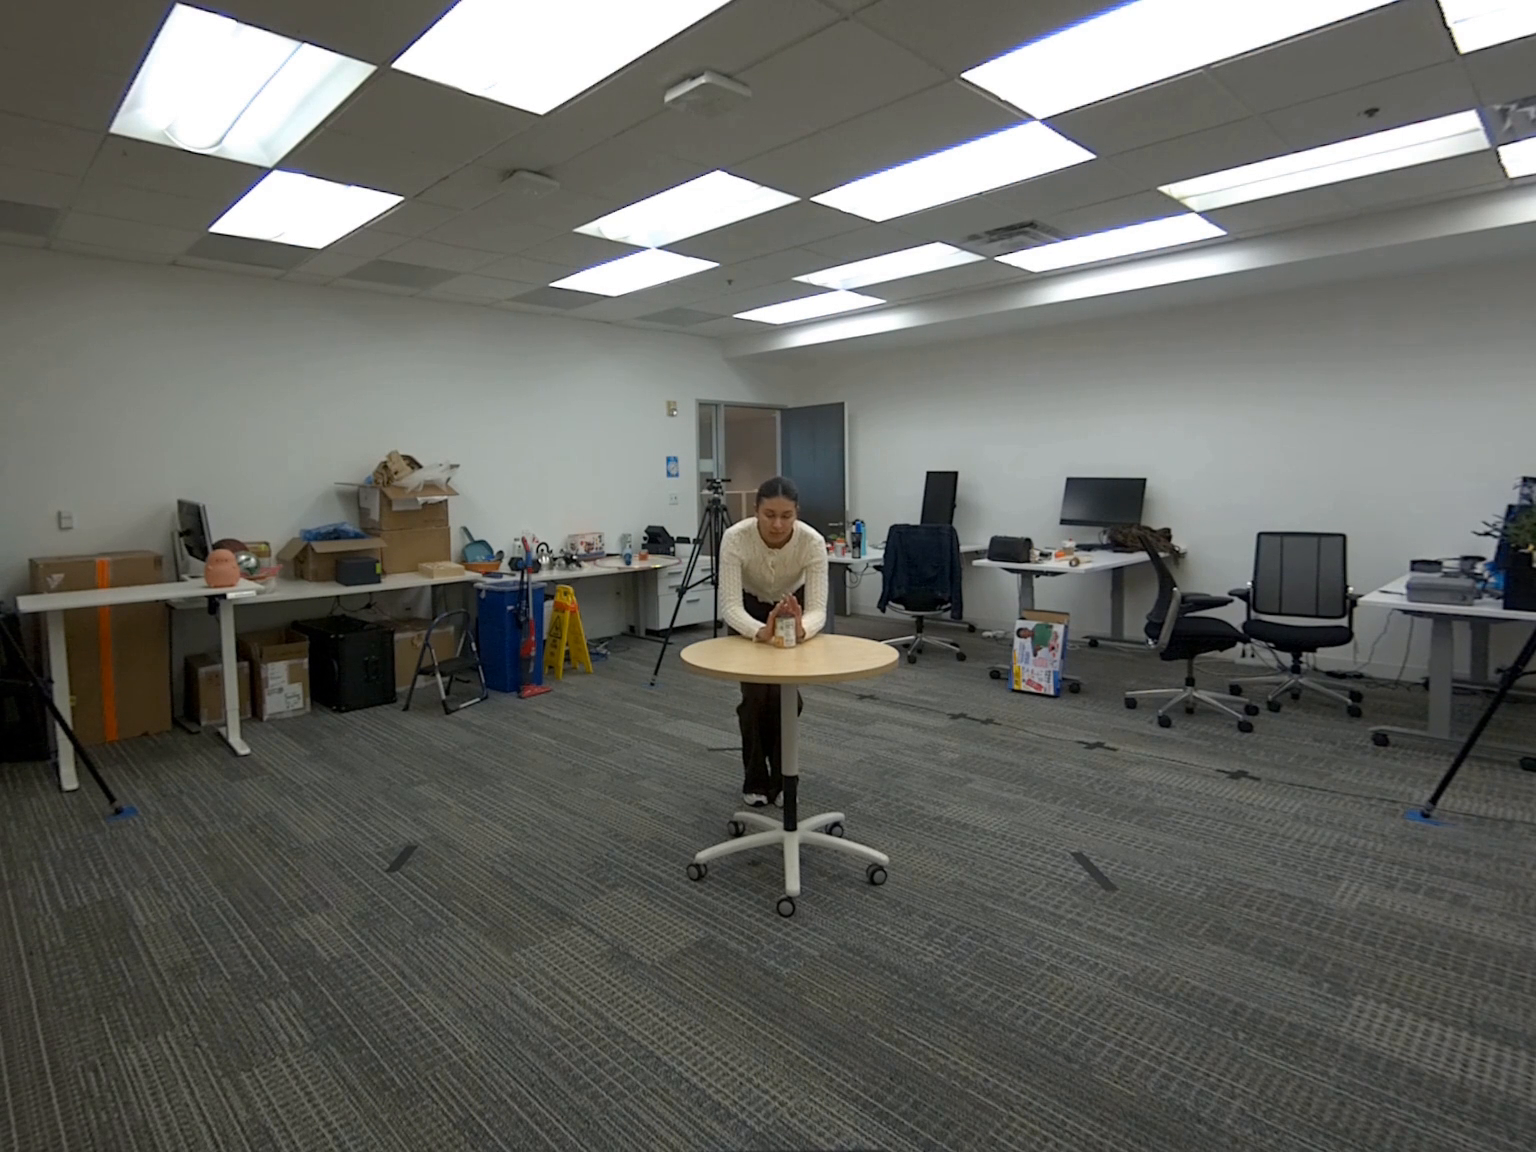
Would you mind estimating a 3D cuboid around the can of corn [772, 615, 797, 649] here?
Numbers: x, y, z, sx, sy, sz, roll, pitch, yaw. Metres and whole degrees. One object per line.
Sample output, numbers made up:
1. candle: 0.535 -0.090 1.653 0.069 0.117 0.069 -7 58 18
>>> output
1. can of corn: 0.061 0.205 3.104 0.074 0.110 0.074 -1 5 -2
